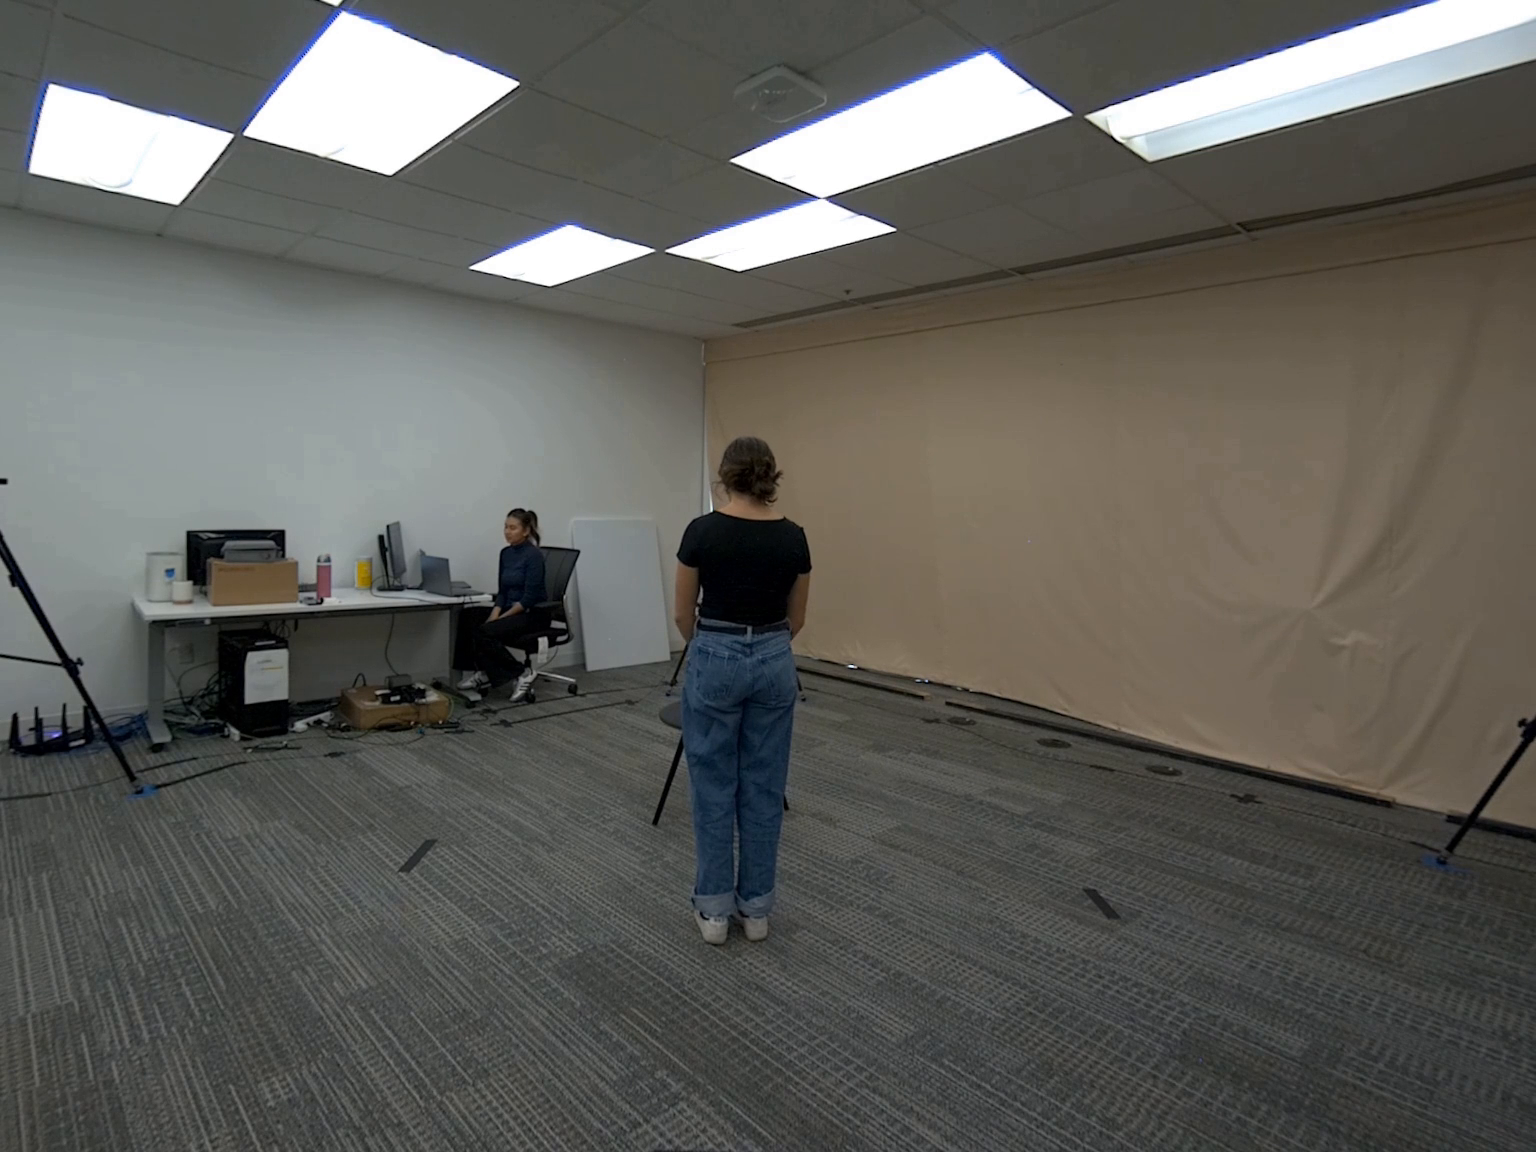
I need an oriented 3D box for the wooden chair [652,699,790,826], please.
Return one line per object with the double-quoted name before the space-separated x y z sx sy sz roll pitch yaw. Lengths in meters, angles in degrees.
"wooden chair" -0.190 0.636 3.649 0.487 0.878 0.513 3 -1 24
